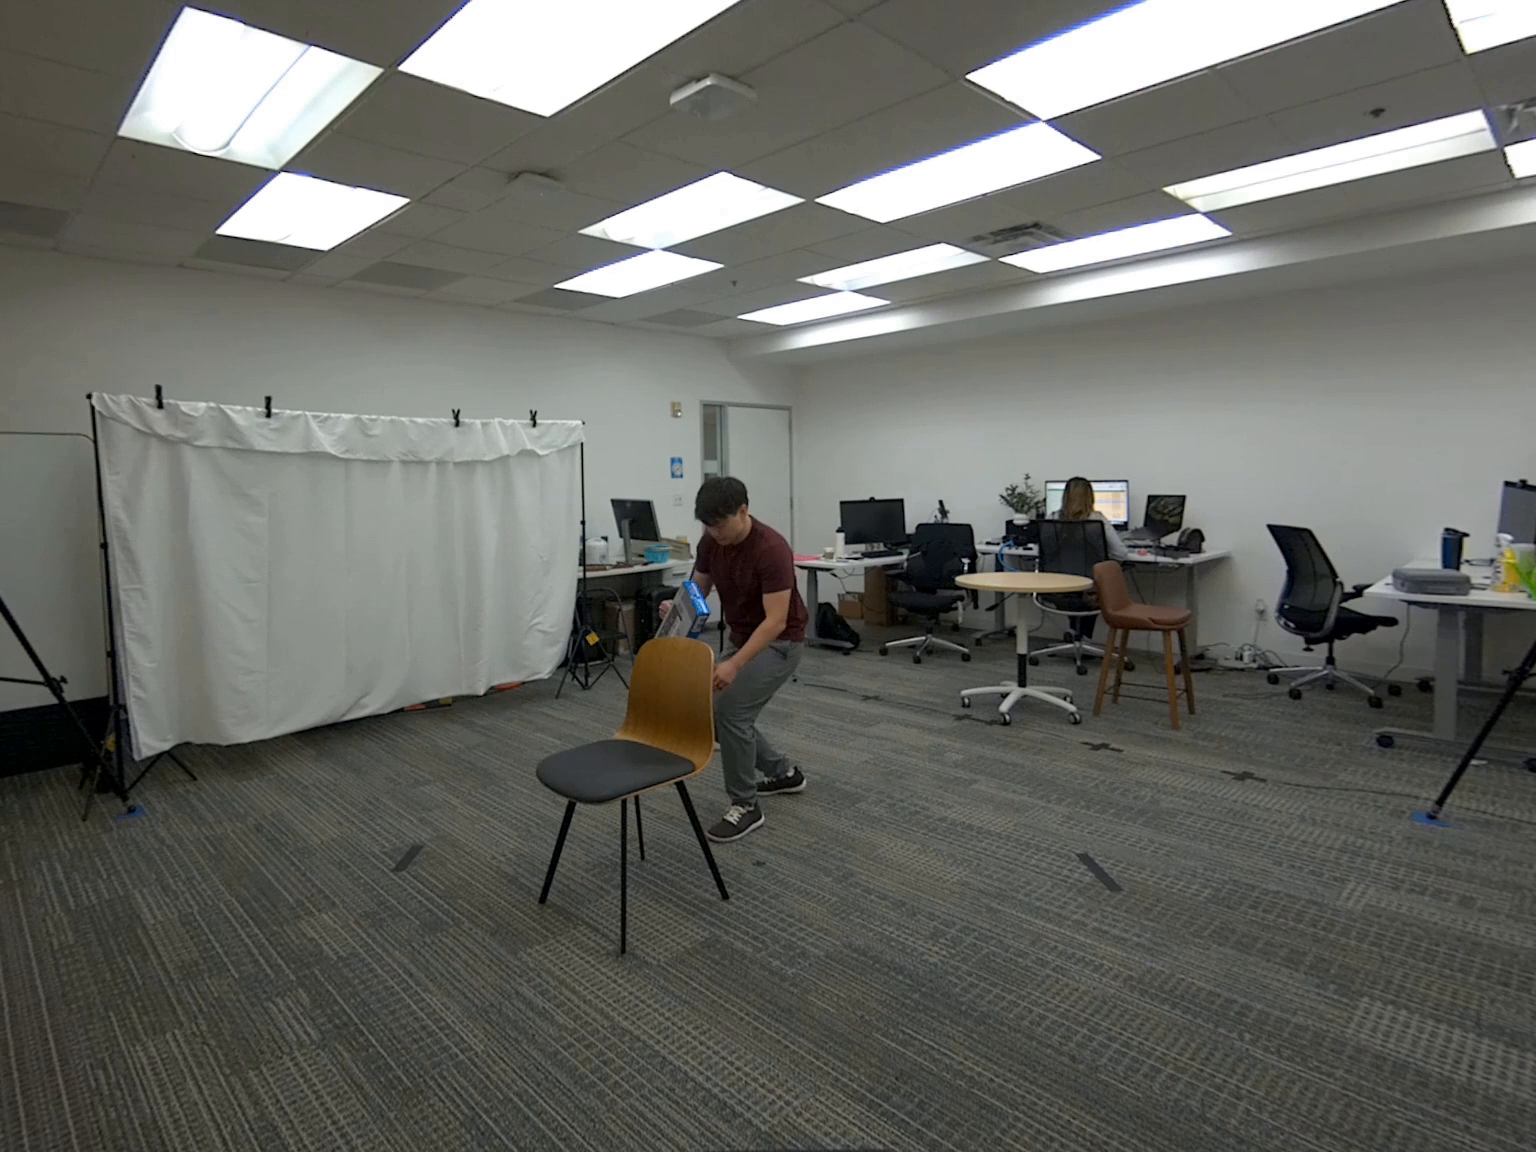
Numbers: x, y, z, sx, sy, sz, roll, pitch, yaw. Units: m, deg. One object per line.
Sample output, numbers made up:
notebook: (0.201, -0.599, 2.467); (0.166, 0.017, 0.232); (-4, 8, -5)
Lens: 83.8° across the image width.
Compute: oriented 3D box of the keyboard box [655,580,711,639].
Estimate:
keyboard box: (-0.366, 0.243, 3.411); (0.057, 0.433, 0.182); (2, 44, -34)
